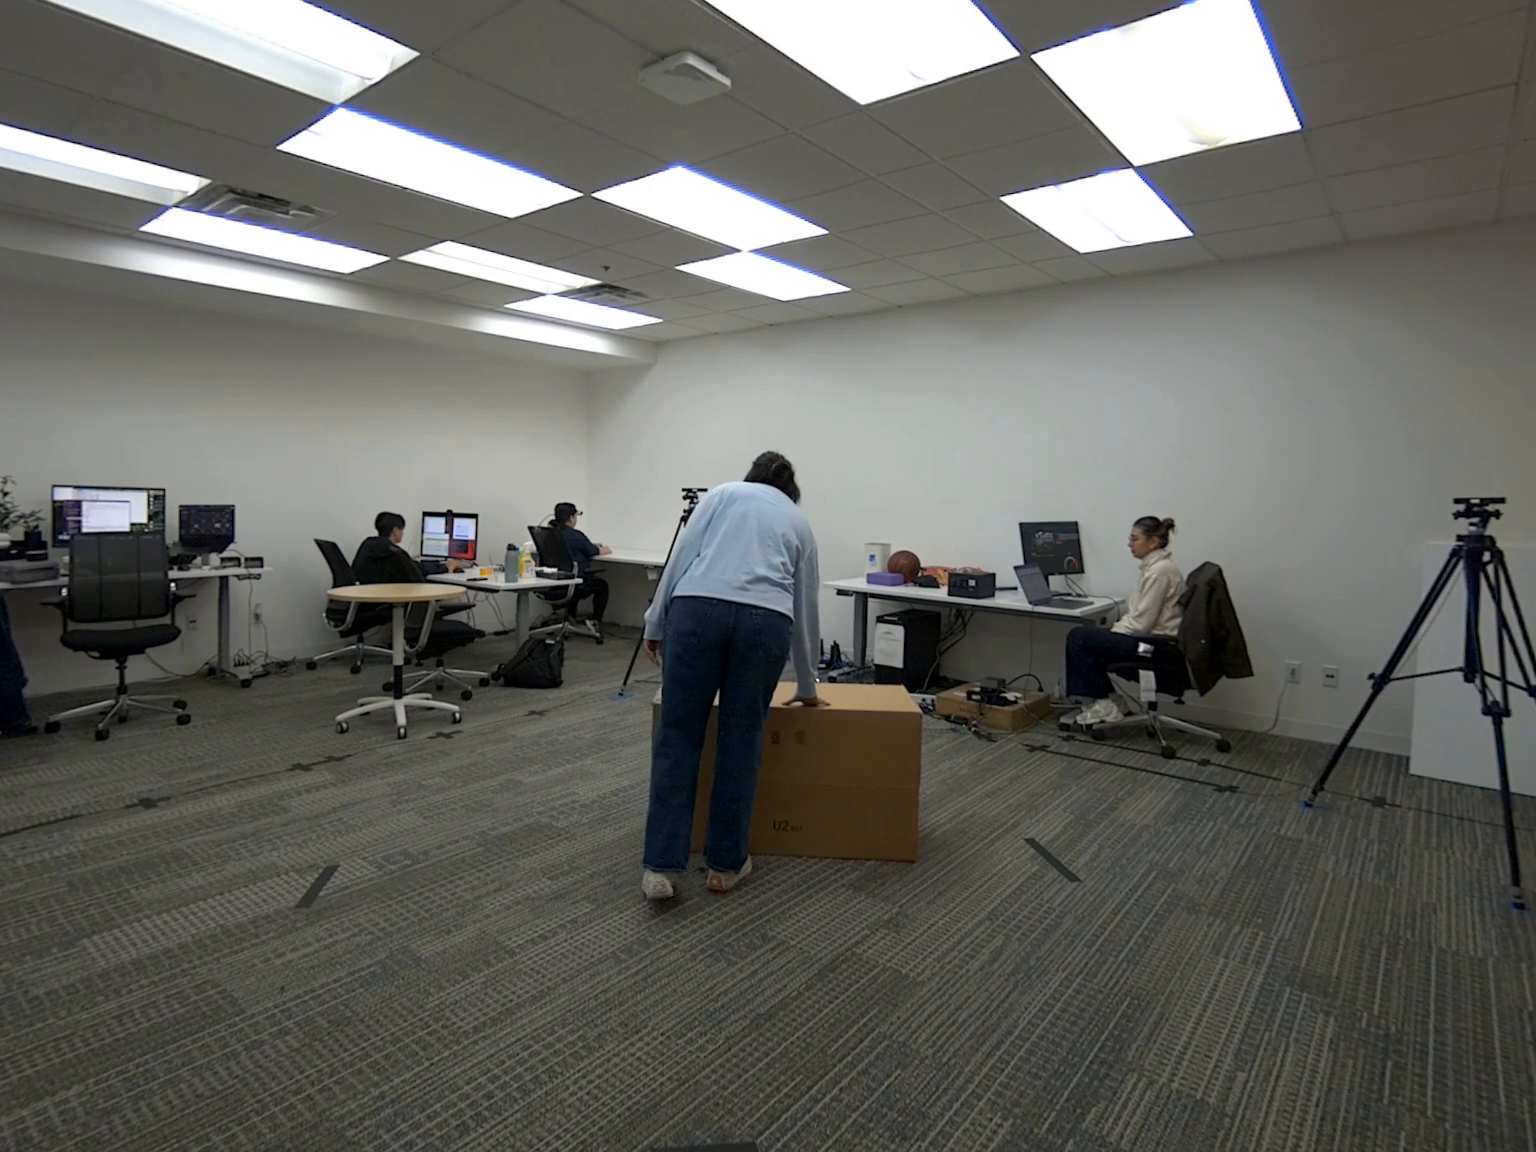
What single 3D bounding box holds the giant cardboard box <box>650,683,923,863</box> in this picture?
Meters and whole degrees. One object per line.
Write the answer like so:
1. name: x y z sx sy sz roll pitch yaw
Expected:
1. giant cardboard box: 0.061 0.750 3.433 1.029 0.576 0.426 1 3 3
